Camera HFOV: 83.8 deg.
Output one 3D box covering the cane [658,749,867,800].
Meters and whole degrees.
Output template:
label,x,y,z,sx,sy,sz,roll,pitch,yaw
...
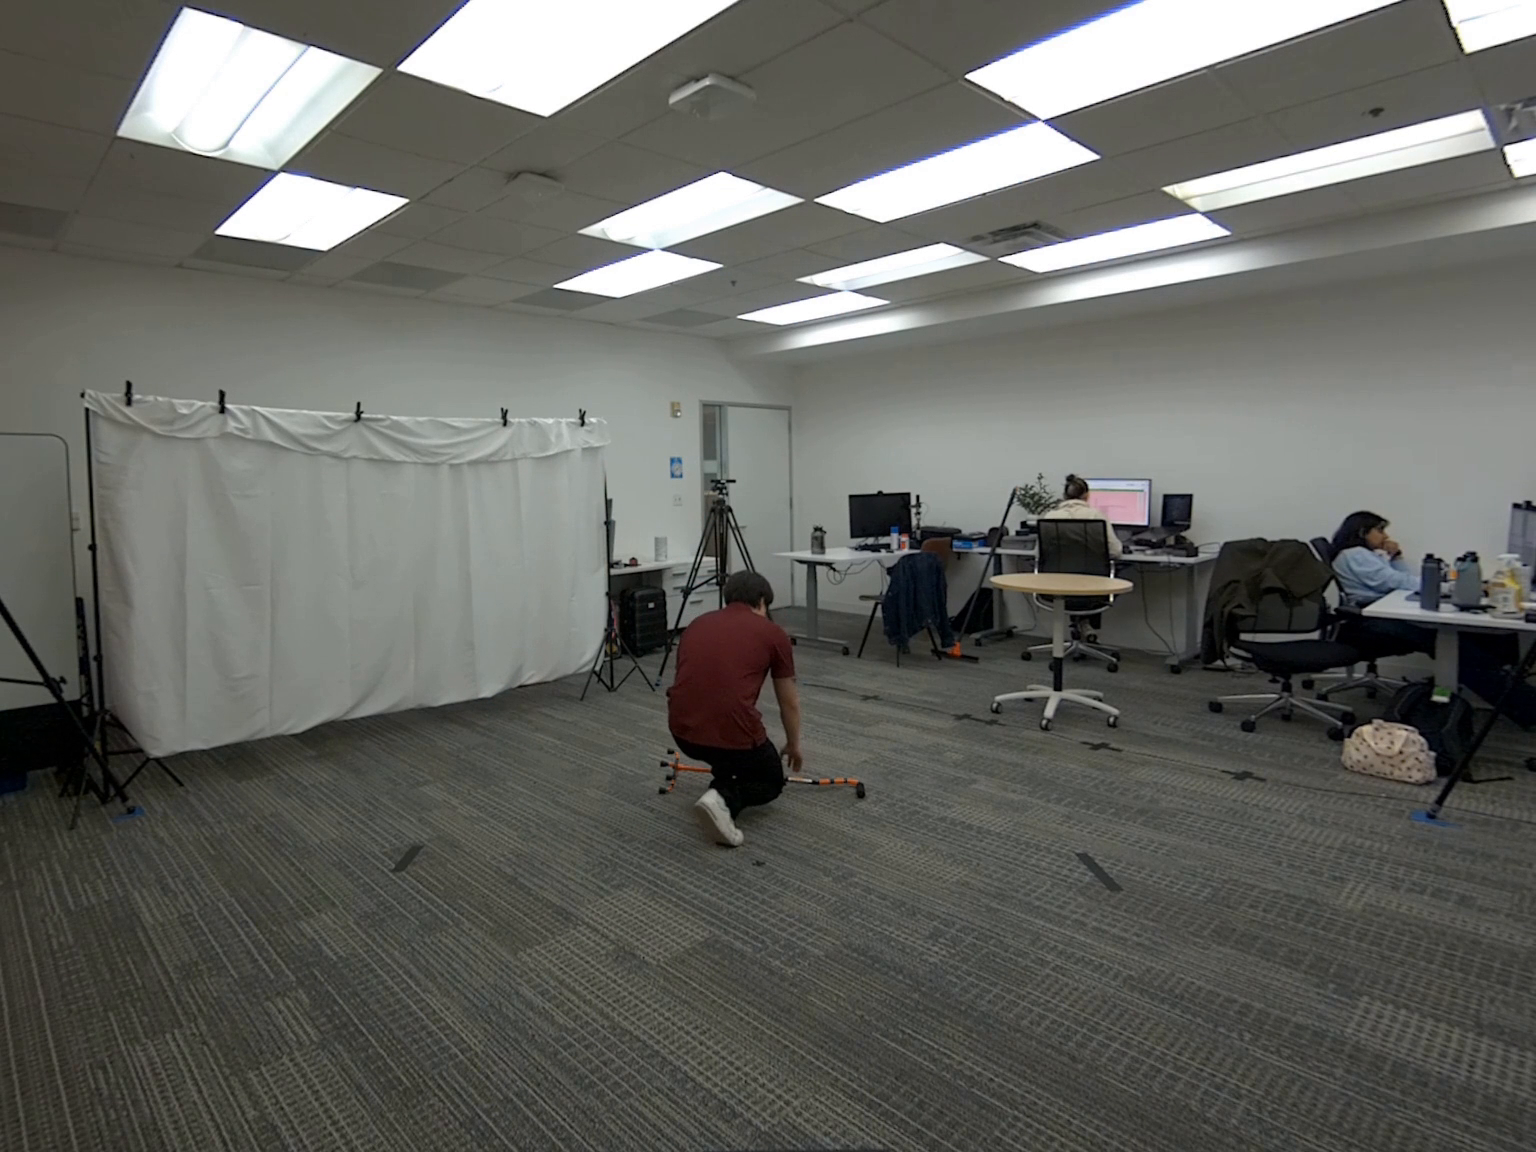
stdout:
label,x,y,z,sx,sy,sz,roll,pitch,yaw
cane,-0.026,0.903,3.870,0.914,0.151,0.206,3,5,6
